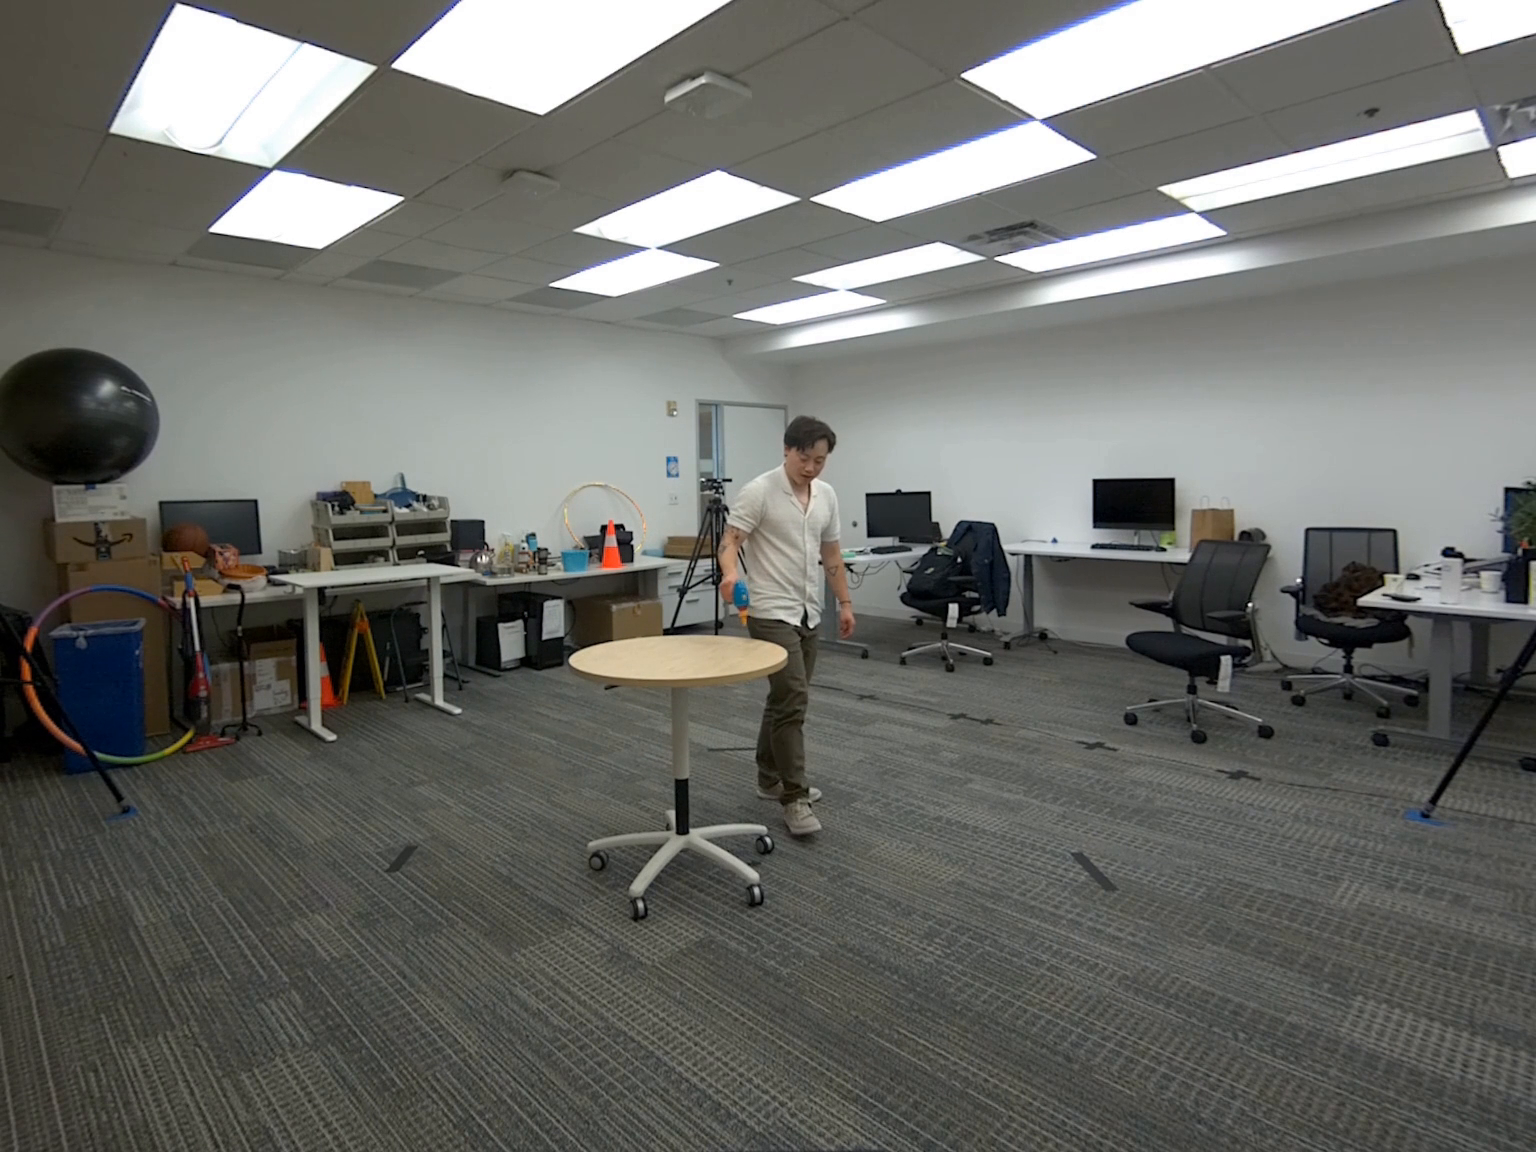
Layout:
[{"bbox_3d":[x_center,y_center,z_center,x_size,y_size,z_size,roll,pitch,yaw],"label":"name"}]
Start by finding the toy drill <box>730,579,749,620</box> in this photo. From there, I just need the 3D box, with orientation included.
[{"bbox_3d":[-0.108,0.104,3.218,0.060,0.170,0.147,-12,-3,-14],"label":"toy drill"}]
